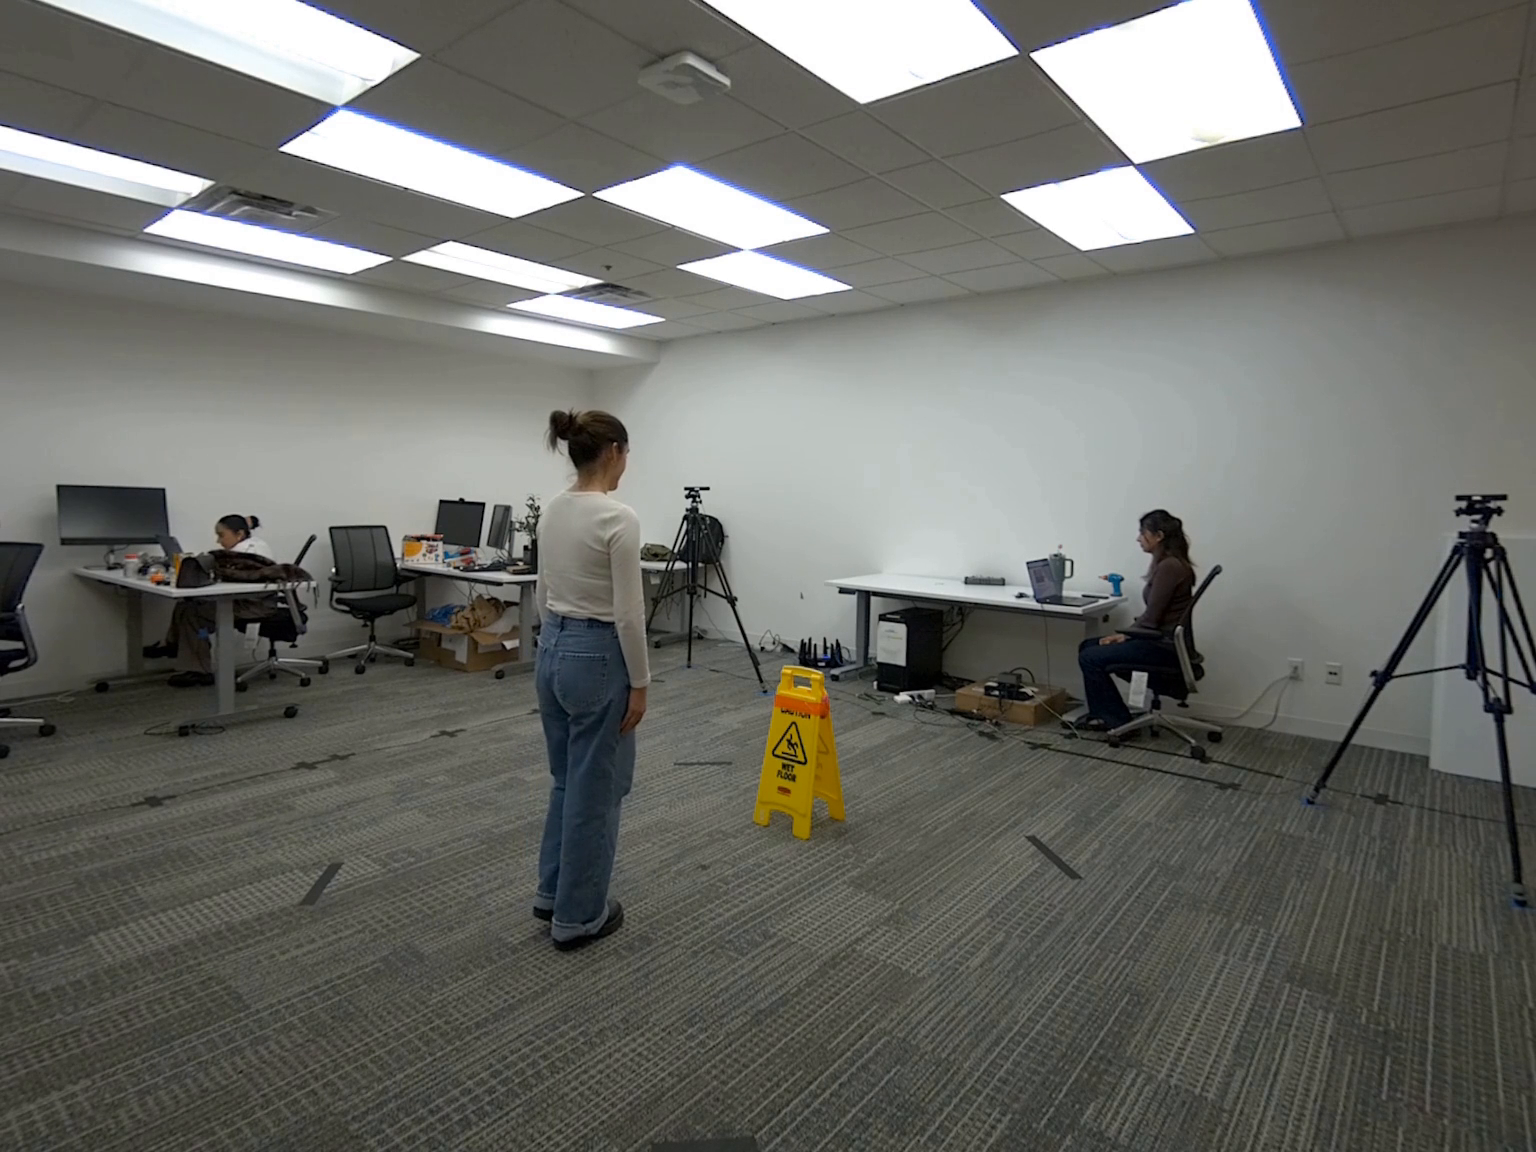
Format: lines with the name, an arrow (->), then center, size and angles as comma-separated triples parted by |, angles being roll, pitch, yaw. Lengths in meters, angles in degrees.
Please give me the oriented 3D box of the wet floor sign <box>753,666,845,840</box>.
wet floor sign -> 0.133, 0.702, 3.556 | 0.292, 0.644, 0.281 | 4, 4, 38
